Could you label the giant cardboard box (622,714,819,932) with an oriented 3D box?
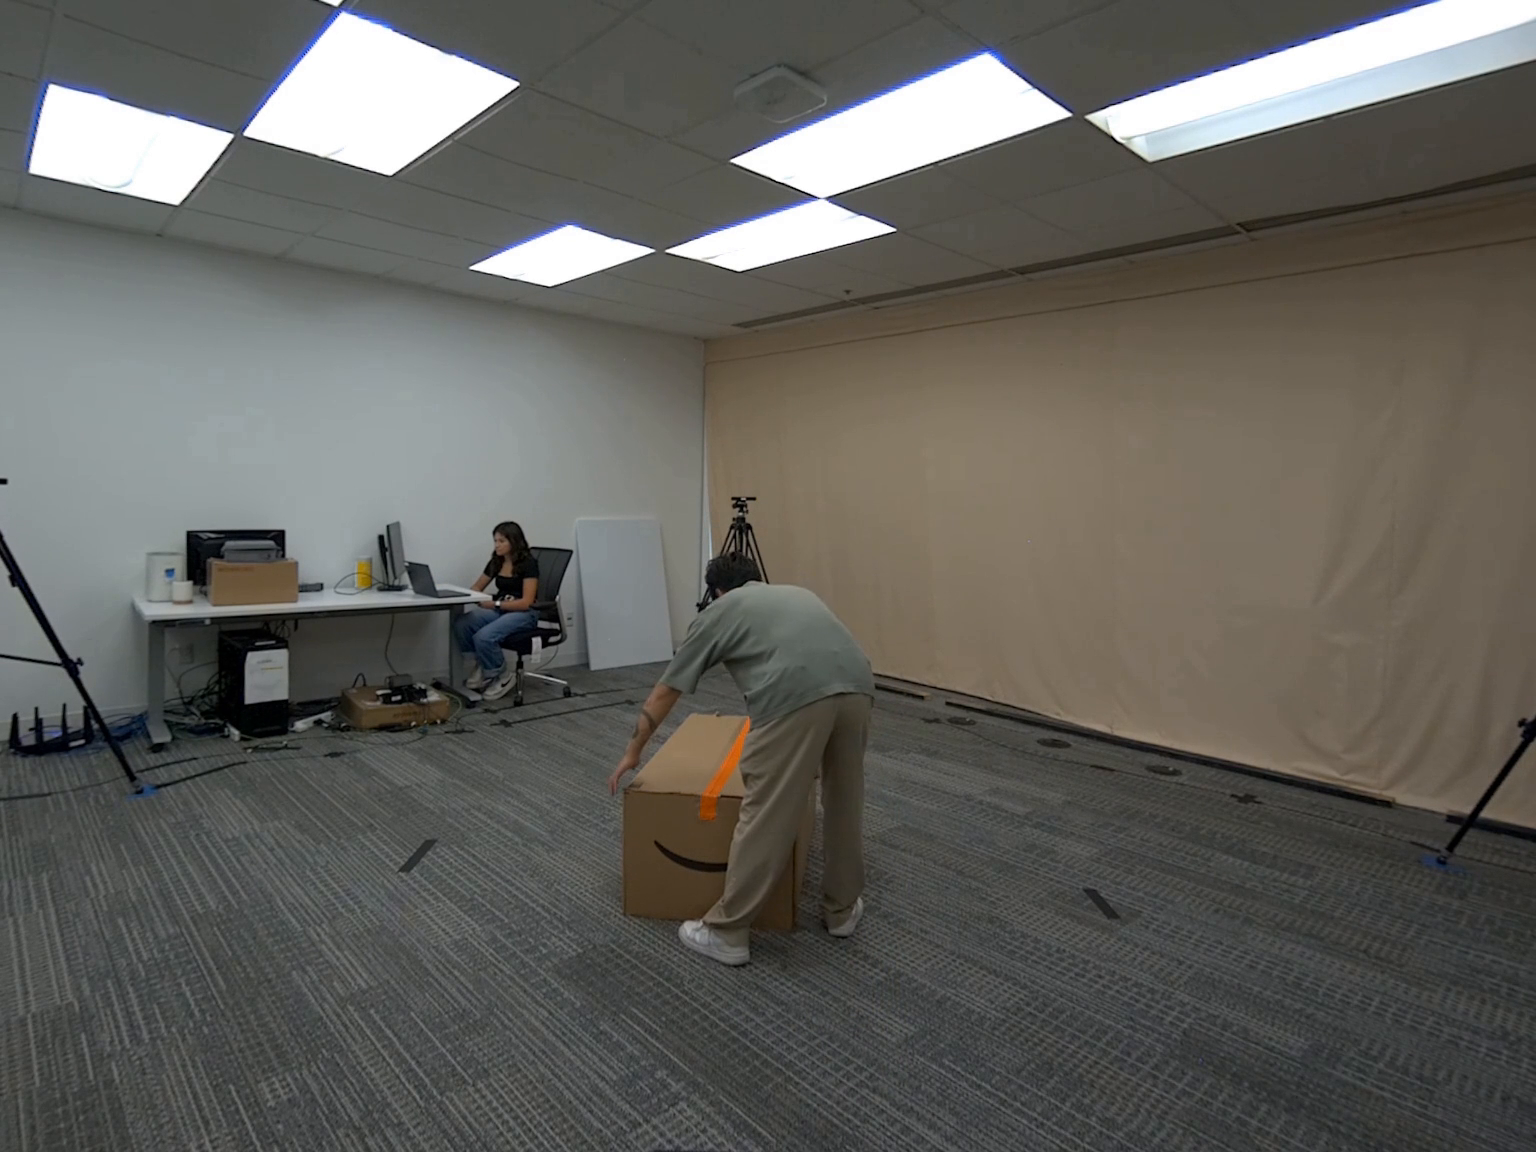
[{"bbox_3d":[-0.144,0.879,3.254,0.581,0.425,1.022,2,5,7],"label":"giant cardboard box"}]
